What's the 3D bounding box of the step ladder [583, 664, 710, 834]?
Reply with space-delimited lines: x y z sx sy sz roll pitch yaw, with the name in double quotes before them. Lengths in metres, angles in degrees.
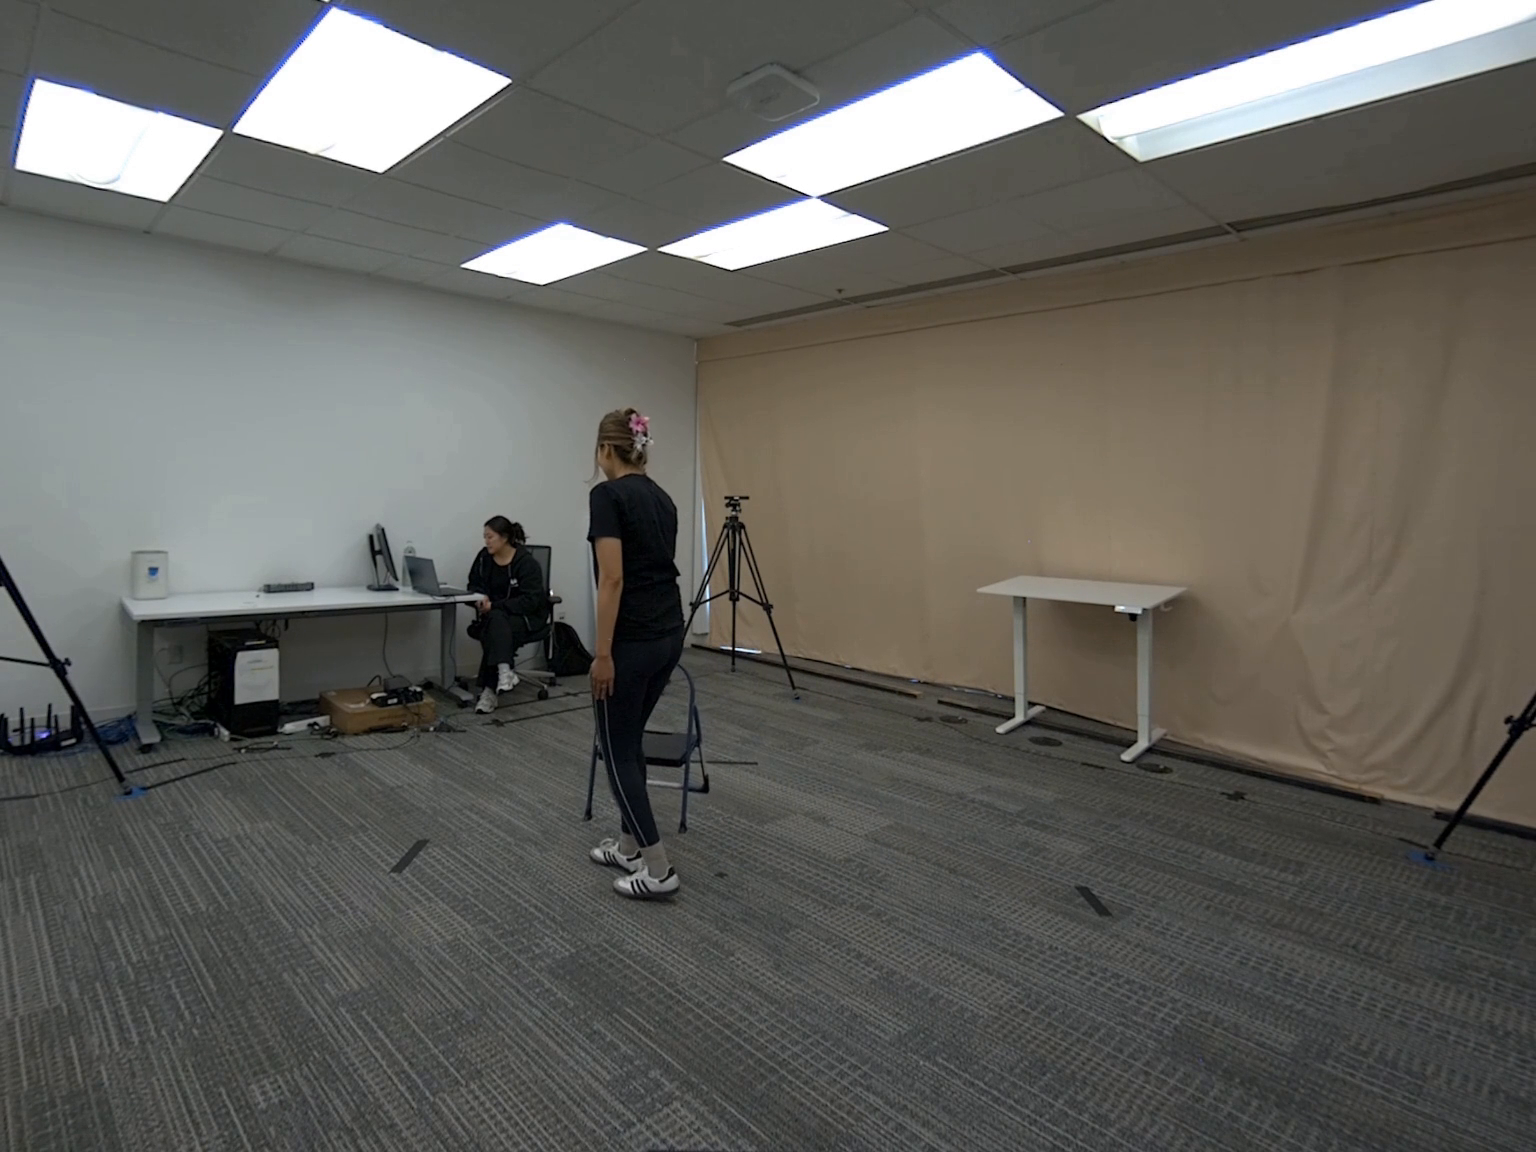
"step ladder" -0.491 0.642 3.358 0.436 0.601 0.348 3 12 15
